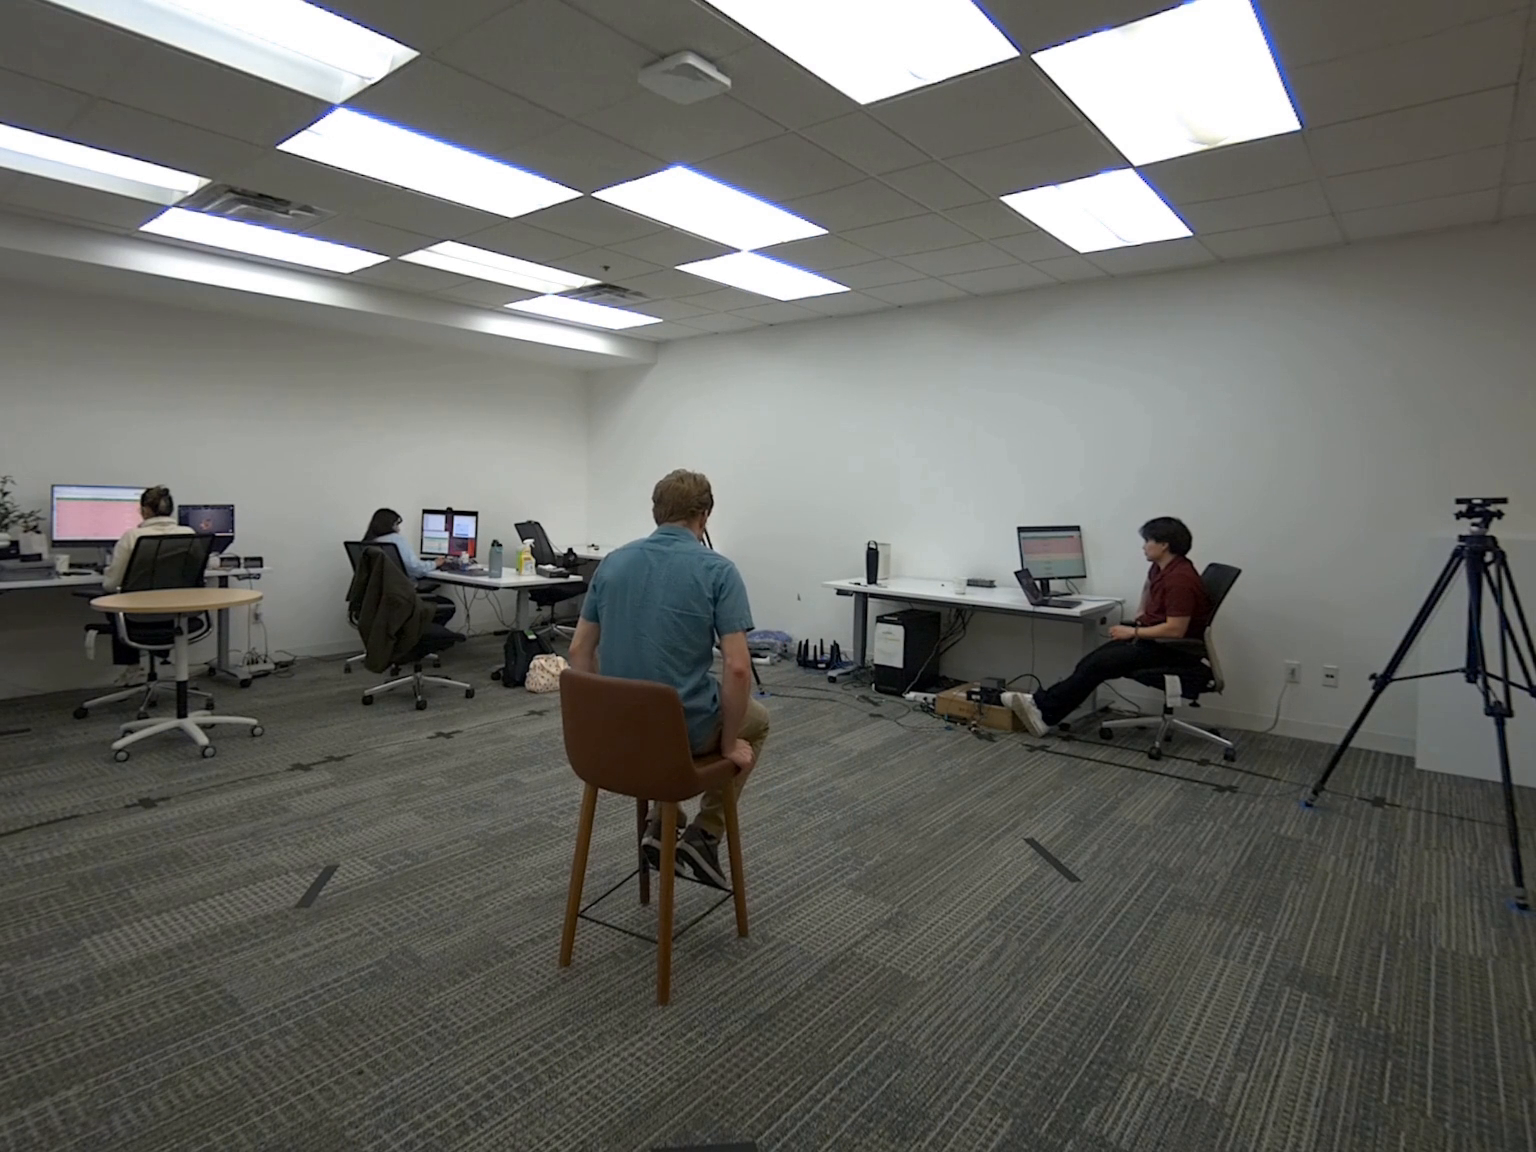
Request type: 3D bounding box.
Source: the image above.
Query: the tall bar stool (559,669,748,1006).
[{"bbox_3d":[-0.350,0.688,2.538,0.470,0.886,0.456,2,6,30],"label":"tall bar stool"}]
